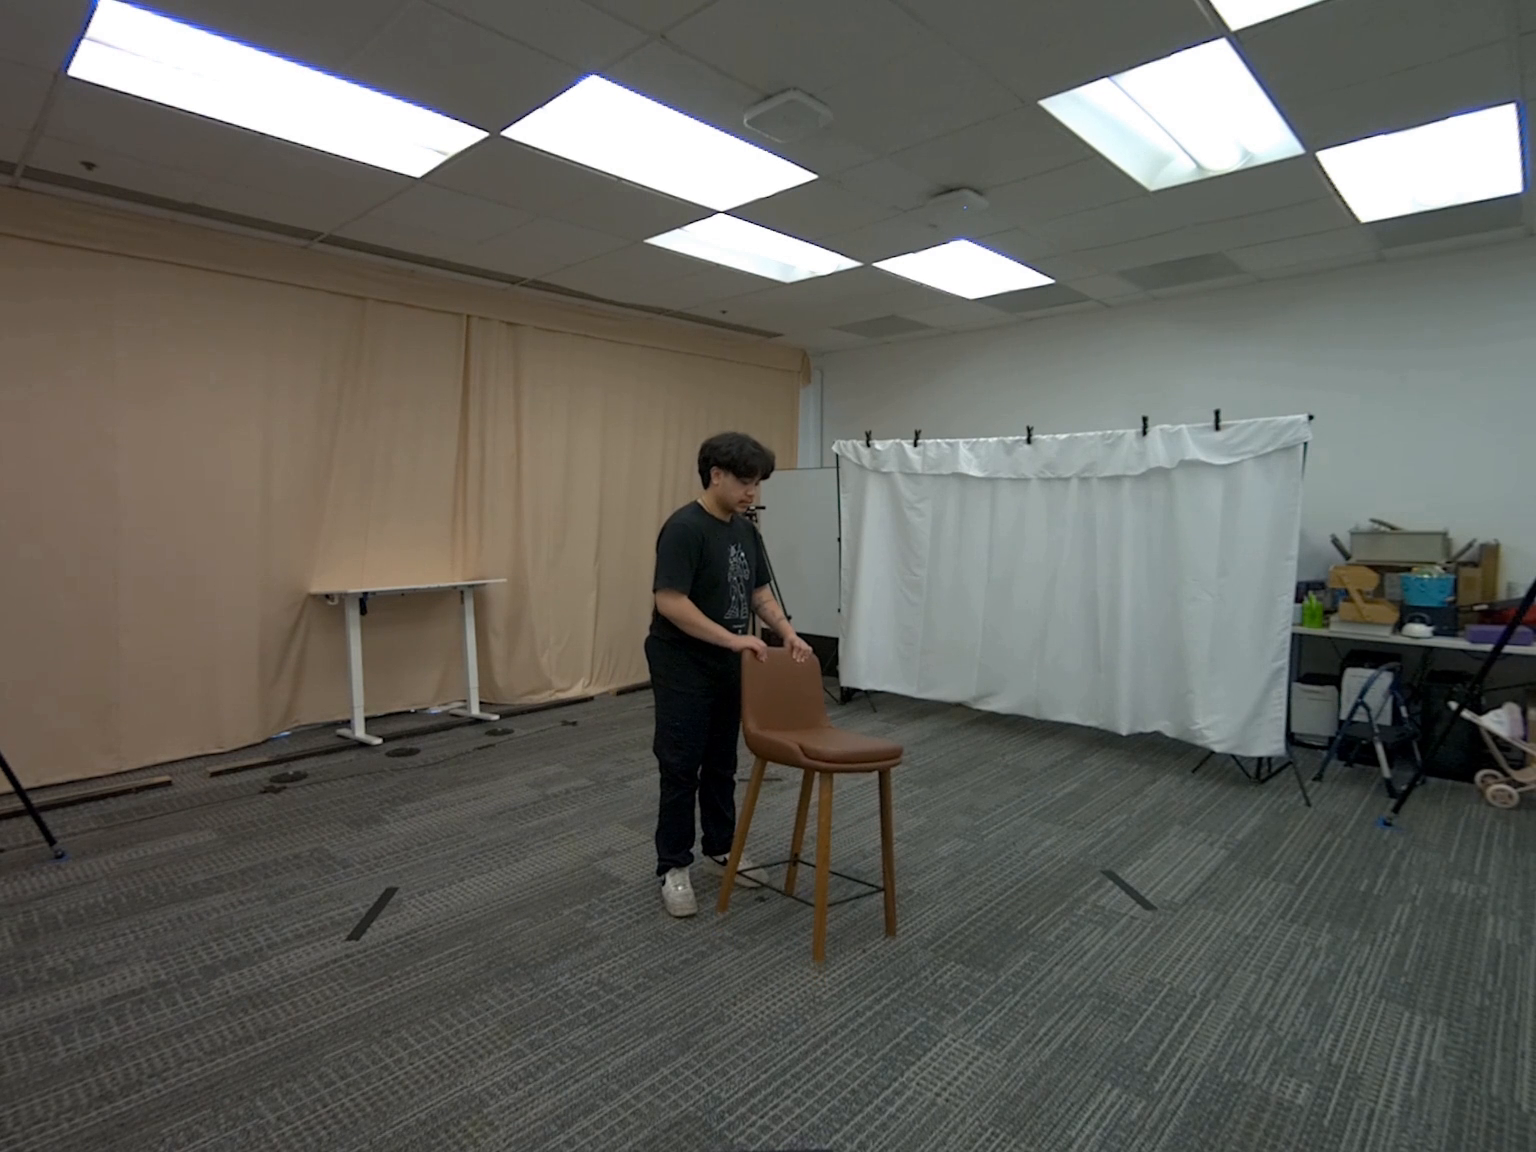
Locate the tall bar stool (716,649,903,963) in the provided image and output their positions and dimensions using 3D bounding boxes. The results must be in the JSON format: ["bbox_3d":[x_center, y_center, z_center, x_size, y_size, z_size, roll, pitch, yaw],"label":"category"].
[{"bbox_3d":[0.158,0.705,2.770,0.483,0.892,0.441,0,-7,44],"label":"tall bar stool"}]
